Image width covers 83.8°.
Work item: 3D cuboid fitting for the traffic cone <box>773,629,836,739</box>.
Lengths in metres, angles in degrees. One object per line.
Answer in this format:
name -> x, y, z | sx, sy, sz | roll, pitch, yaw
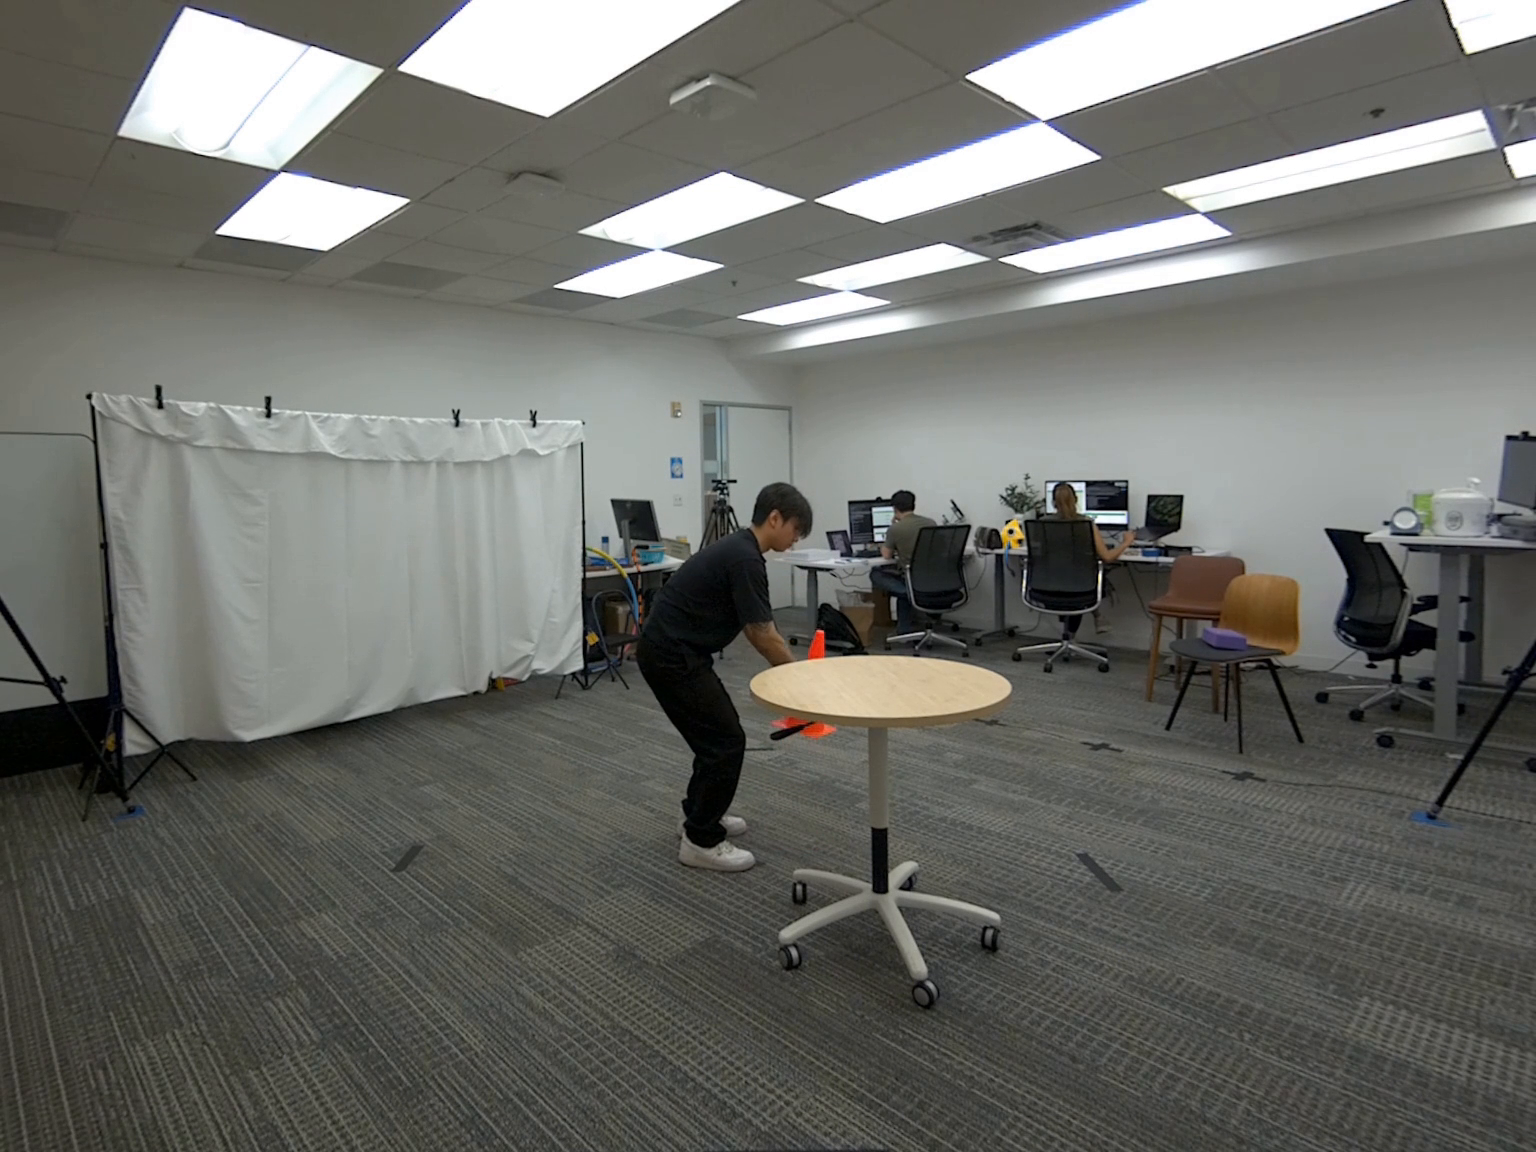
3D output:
traffic cone -> 0.169, 0.403, 3.299 | 0.211, 0.382, 0.198 | 12, 7, 31
